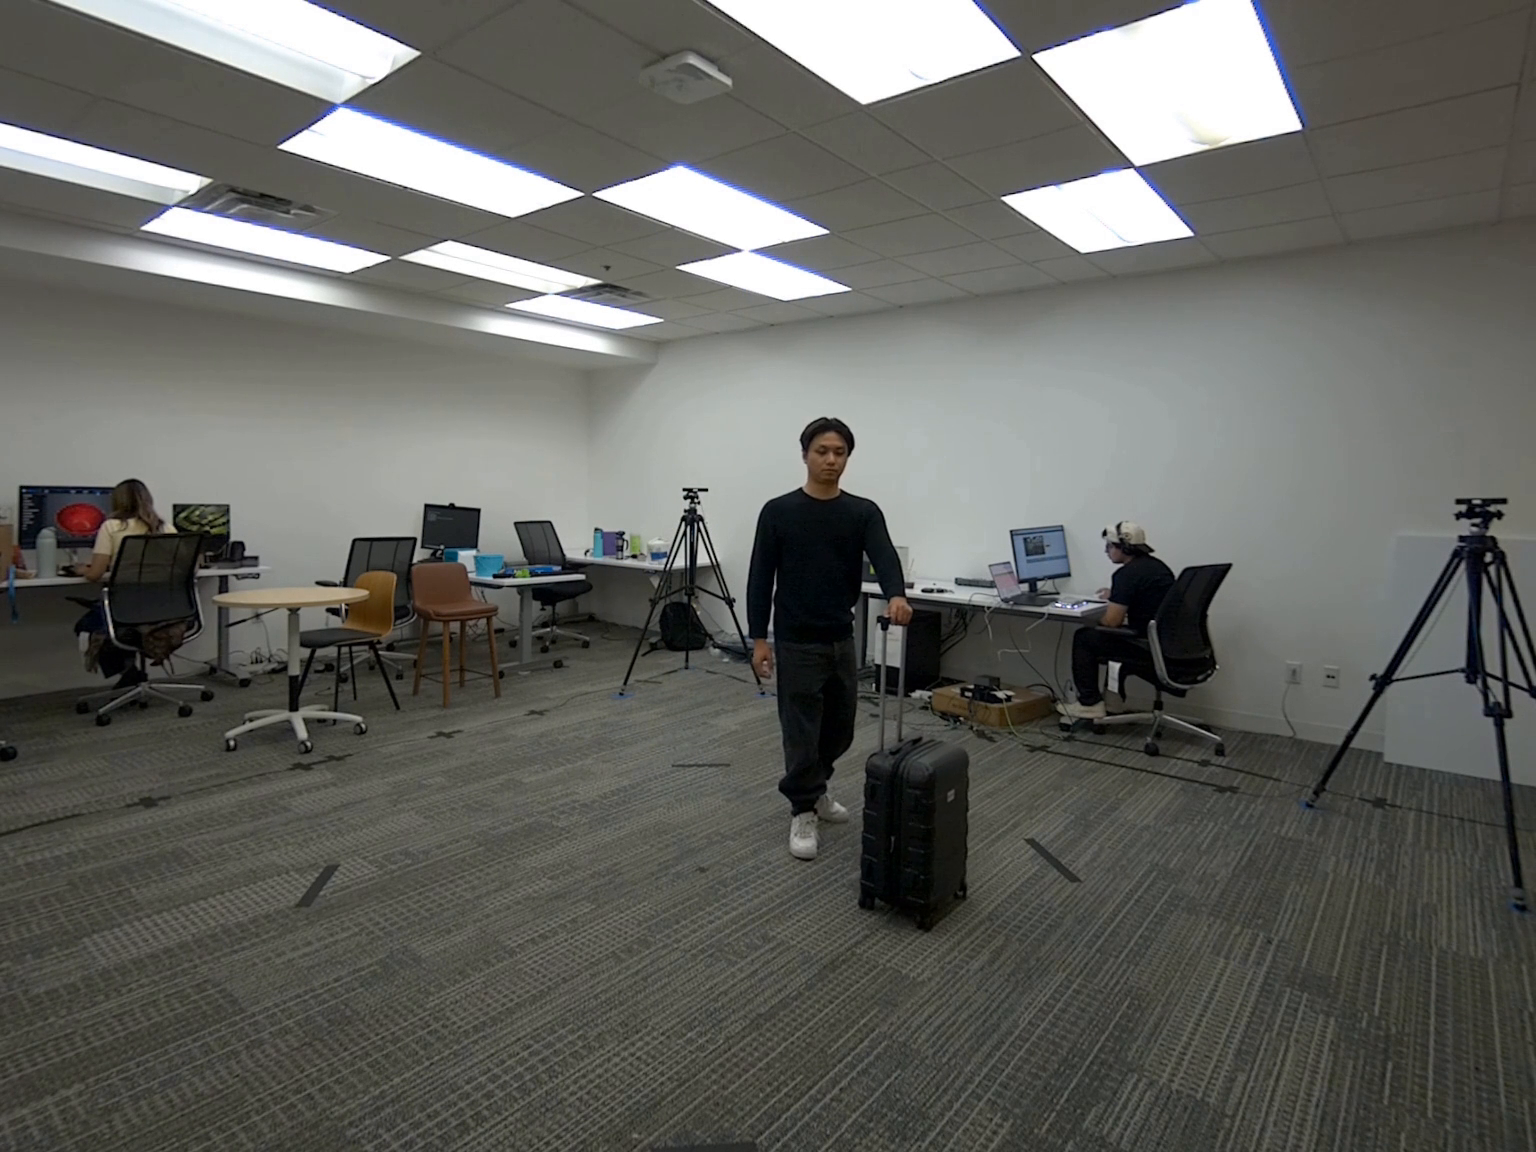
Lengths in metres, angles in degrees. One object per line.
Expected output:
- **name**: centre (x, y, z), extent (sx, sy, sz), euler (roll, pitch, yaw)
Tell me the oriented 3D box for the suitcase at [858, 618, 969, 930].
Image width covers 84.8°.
- **suitcase**: centre (0.508, 0.637, 2.851), extent (0.266, 0.973, 0.373), euler (7, 7, 36)
